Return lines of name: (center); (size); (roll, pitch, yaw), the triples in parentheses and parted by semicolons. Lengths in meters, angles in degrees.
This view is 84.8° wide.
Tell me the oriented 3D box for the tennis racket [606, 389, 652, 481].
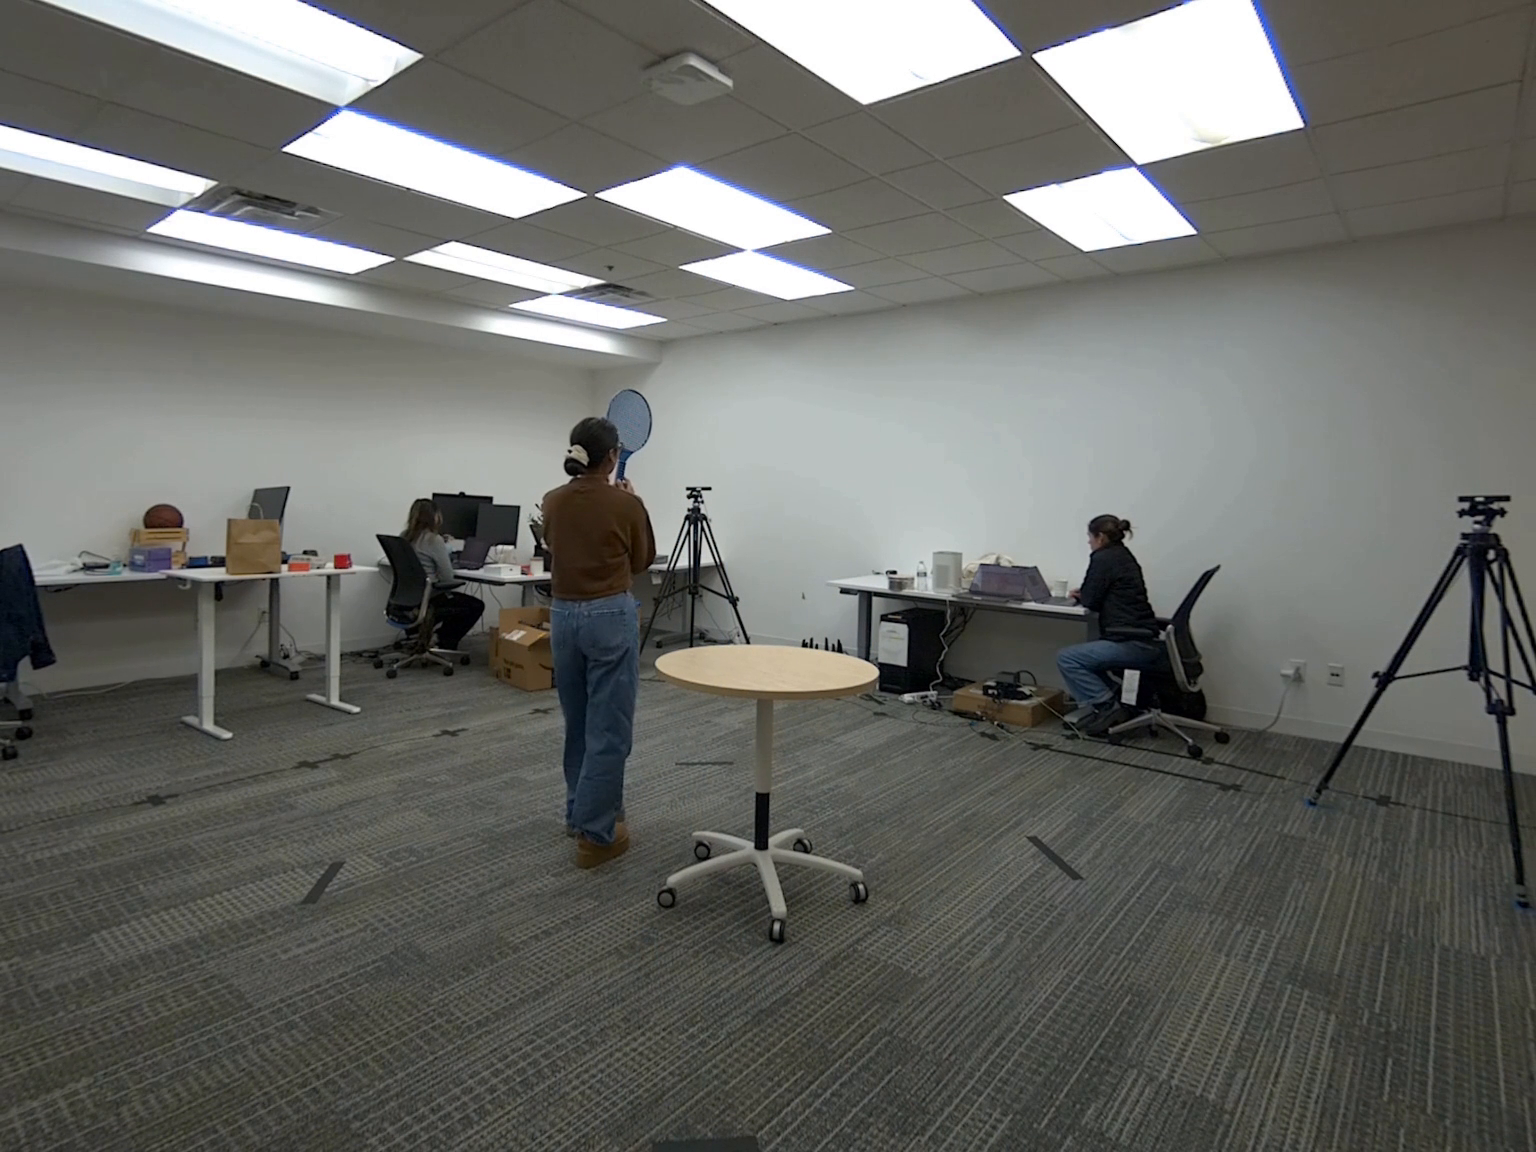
tennis racket: (-0.588, -0.559, 3.439); (0.206, 0.438, 0.032); (18, -17, -38)
